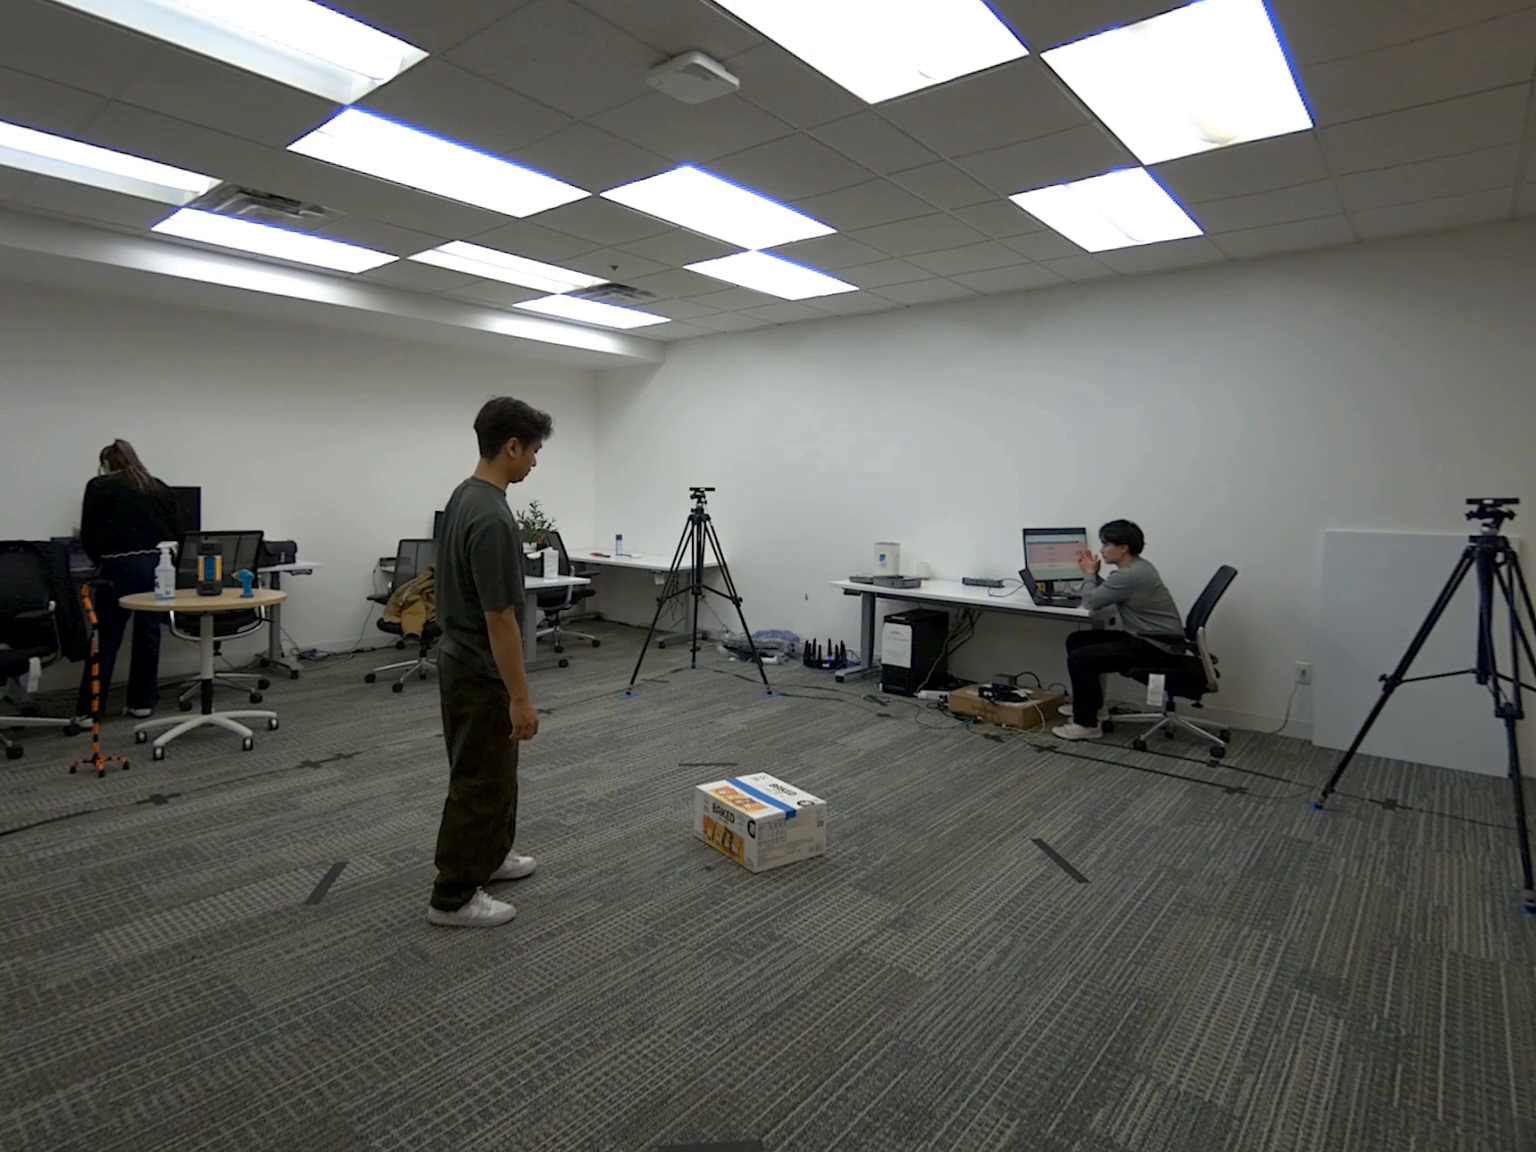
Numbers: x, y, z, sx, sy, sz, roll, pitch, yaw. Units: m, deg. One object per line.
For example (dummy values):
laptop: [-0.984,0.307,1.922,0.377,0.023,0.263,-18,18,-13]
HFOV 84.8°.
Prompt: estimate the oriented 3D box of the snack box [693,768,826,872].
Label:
snack box: [-0.042,0.943,3.313,0.330,0.205,0.419,-3,6,-36]
